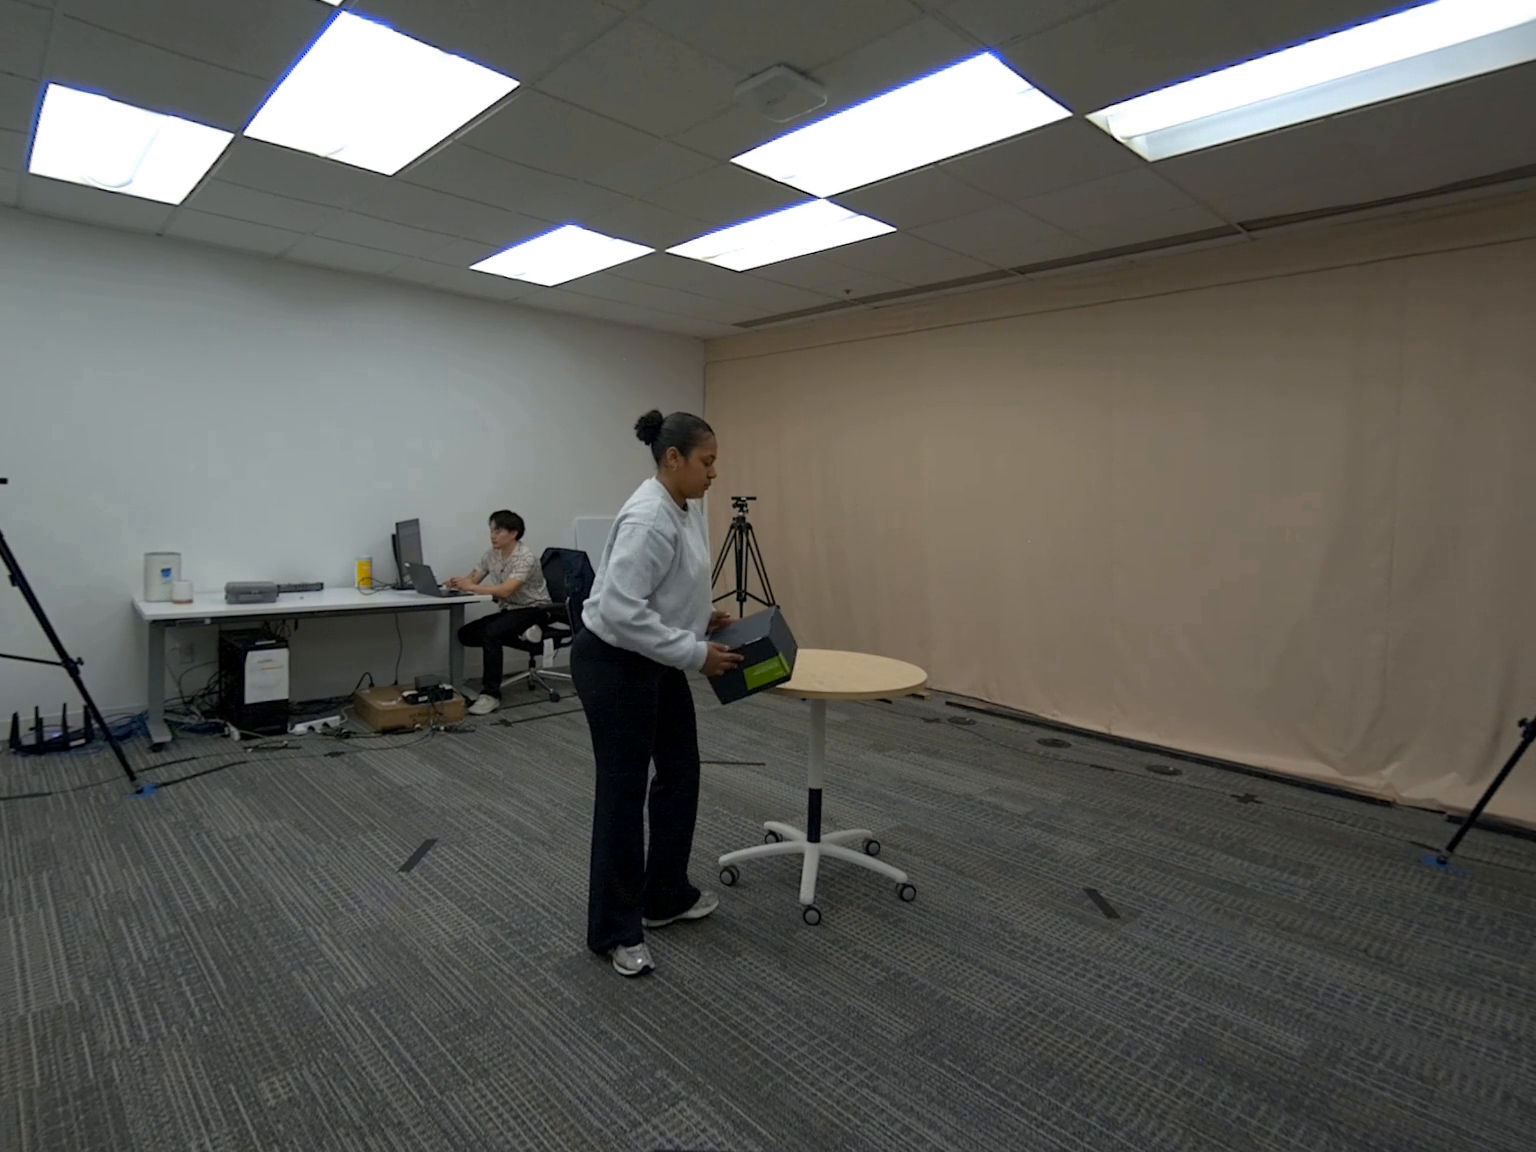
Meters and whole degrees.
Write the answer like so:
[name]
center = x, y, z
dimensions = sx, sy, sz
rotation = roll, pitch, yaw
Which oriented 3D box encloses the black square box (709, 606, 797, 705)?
[black square box]
center = -0.065, 0.241, 2.505
dimensions = 0.229, 0.154, 0.218
rotation = -22, 16, 16
